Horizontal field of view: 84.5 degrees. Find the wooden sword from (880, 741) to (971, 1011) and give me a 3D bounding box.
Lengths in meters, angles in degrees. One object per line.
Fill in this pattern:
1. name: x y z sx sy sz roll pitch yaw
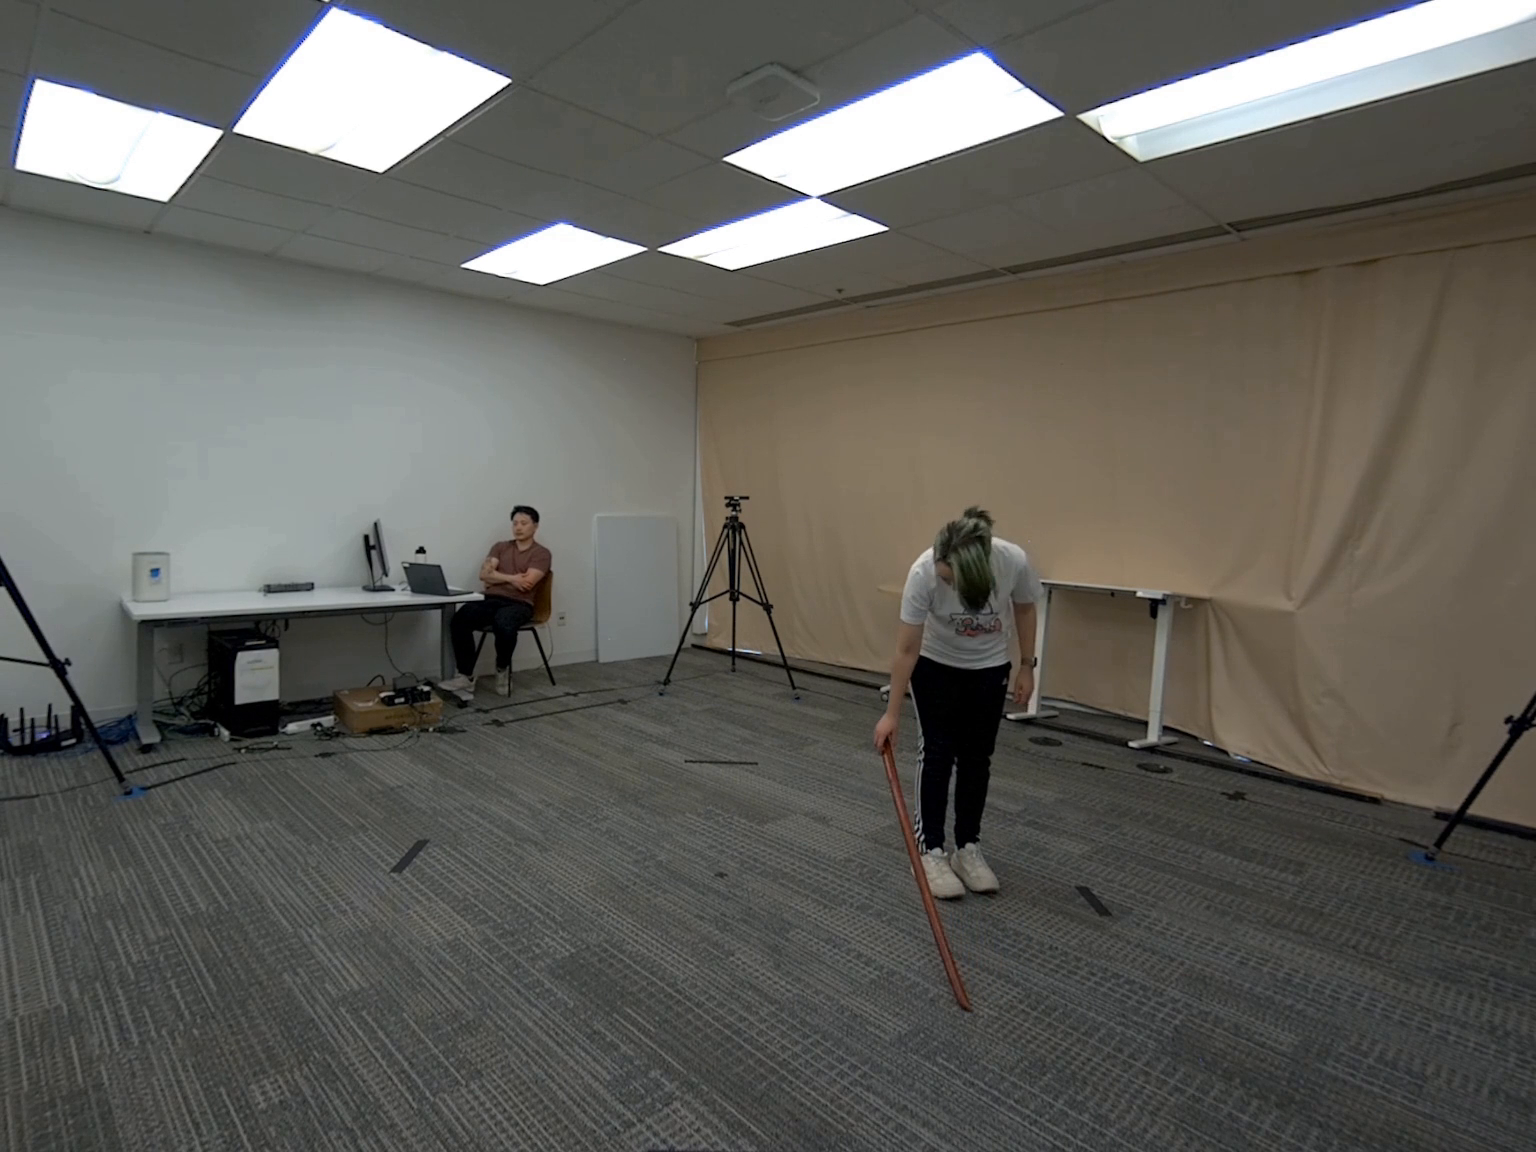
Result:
1. wooden sword: 0.461 0.878 2.713 0.050 0.024 1.052 18 33 -23
